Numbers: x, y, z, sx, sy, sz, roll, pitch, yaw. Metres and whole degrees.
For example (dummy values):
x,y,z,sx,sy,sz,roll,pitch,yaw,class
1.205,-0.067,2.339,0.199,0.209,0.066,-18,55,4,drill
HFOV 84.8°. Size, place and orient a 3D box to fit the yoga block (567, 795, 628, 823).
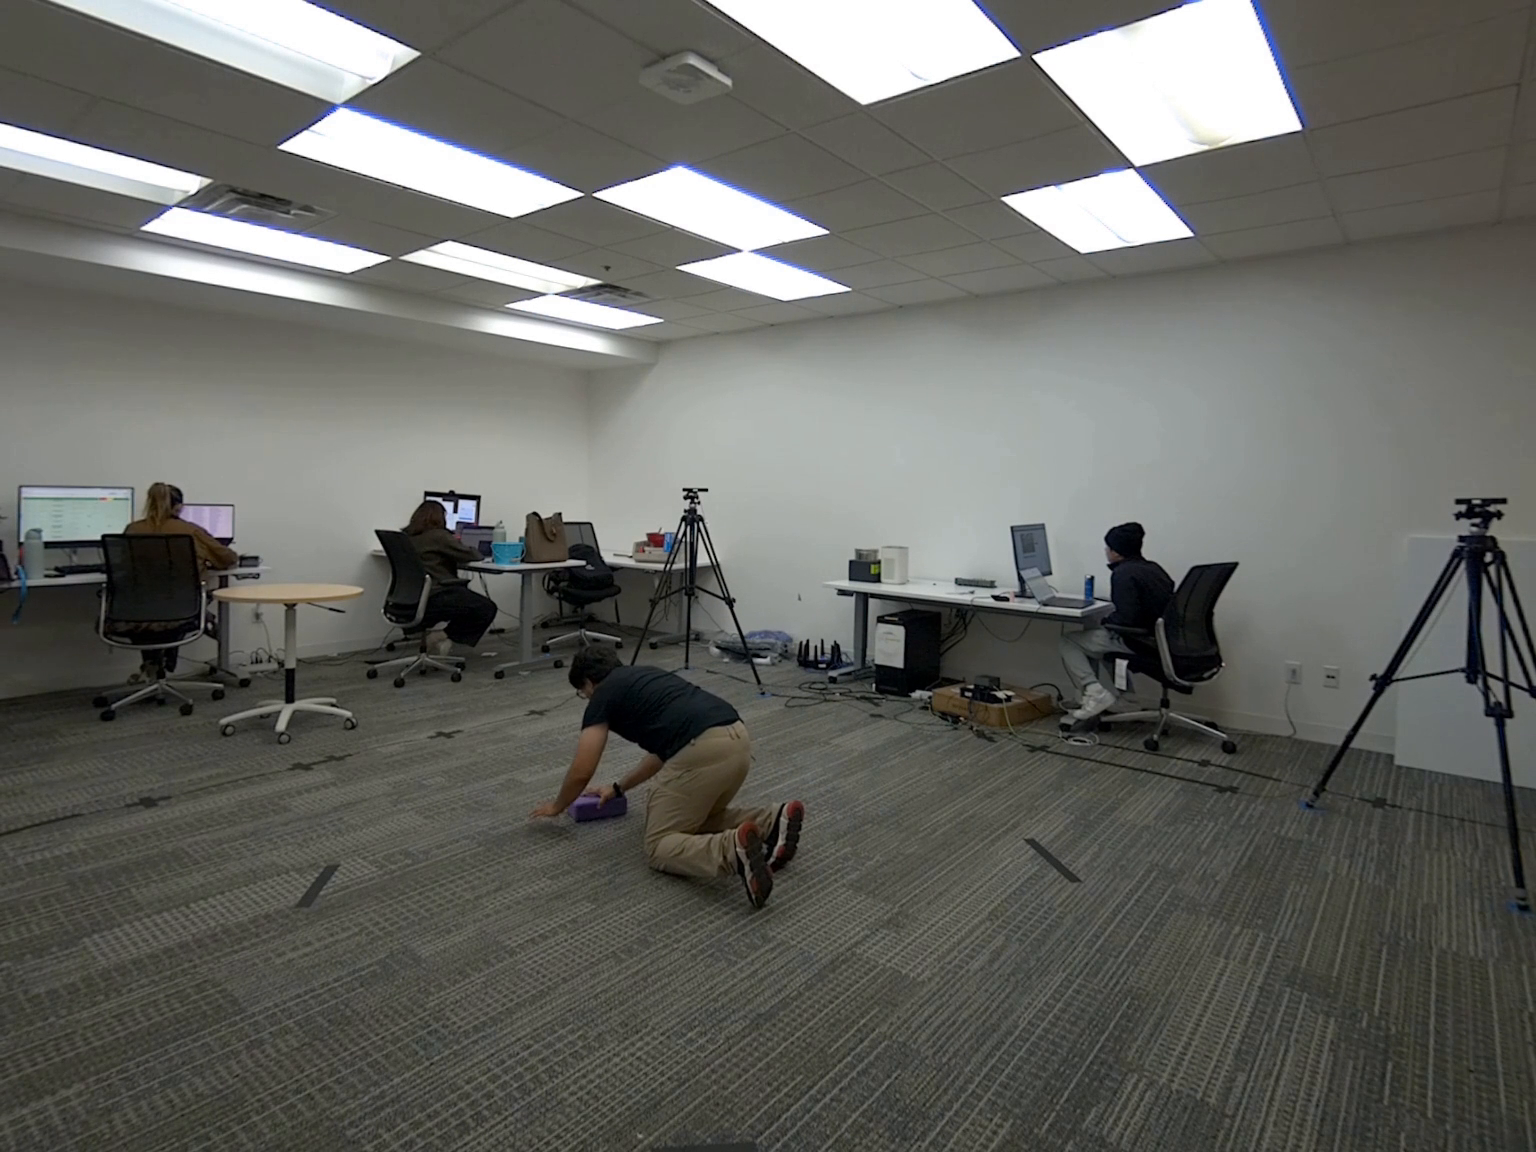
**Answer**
x,y,z,sx,sy,sz,roll,pitch,yaw,class
-0.743,0.972,3.632,0.224,0.076,0.153,-2,3,-26,yoga block
